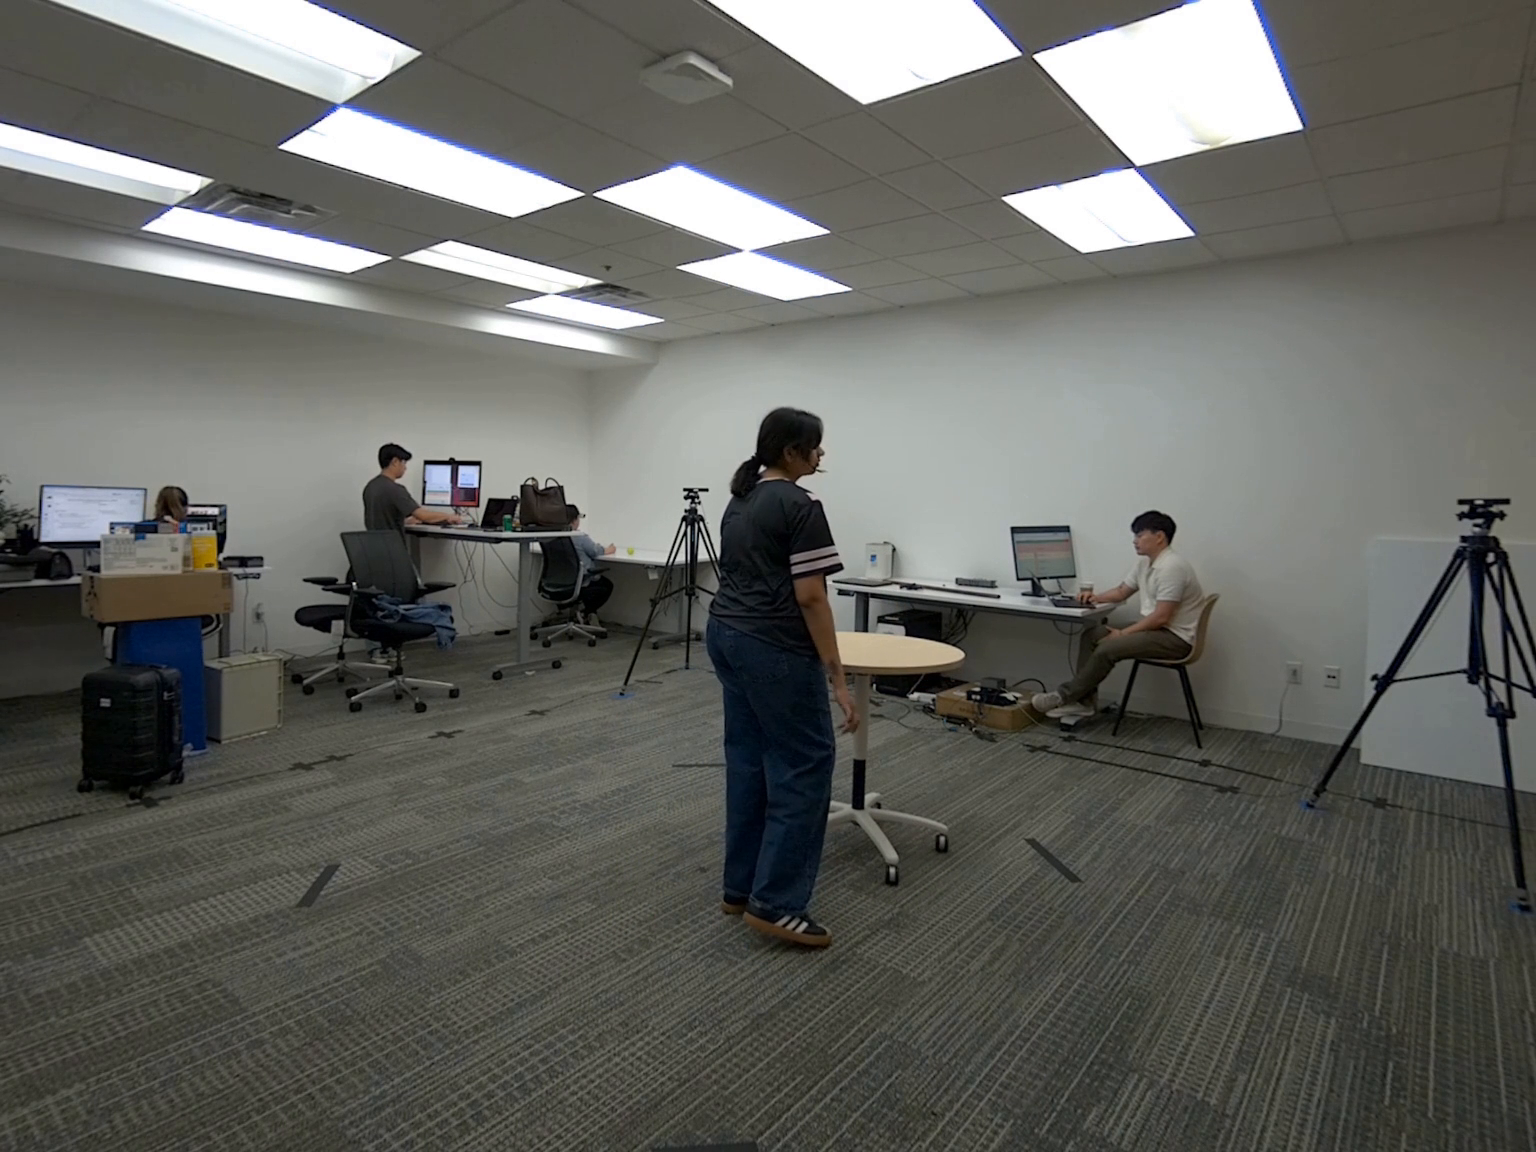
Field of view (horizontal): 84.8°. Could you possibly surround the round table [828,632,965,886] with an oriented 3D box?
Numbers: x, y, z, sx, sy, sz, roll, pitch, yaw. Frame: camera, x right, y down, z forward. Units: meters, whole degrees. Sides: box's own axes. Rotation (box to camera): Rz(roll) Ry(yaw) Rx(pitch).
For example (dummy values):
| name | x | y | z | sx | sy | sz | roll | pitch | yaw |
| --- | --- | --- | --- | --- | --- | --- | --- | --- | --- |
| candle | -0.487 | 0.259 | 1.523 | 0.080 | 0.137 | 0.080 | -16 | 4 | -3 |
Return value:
| name | x | y | z | sx | sy | sz | roll | pitch | yaw |
| --- | --- | --- | --- | --- | --- | --- | --- | --- | --- |
| round table | 0.357 | 0.666 | 3.343 | 0.784 | 0.784 | 0.788 | 1 | 3 | -2 |
